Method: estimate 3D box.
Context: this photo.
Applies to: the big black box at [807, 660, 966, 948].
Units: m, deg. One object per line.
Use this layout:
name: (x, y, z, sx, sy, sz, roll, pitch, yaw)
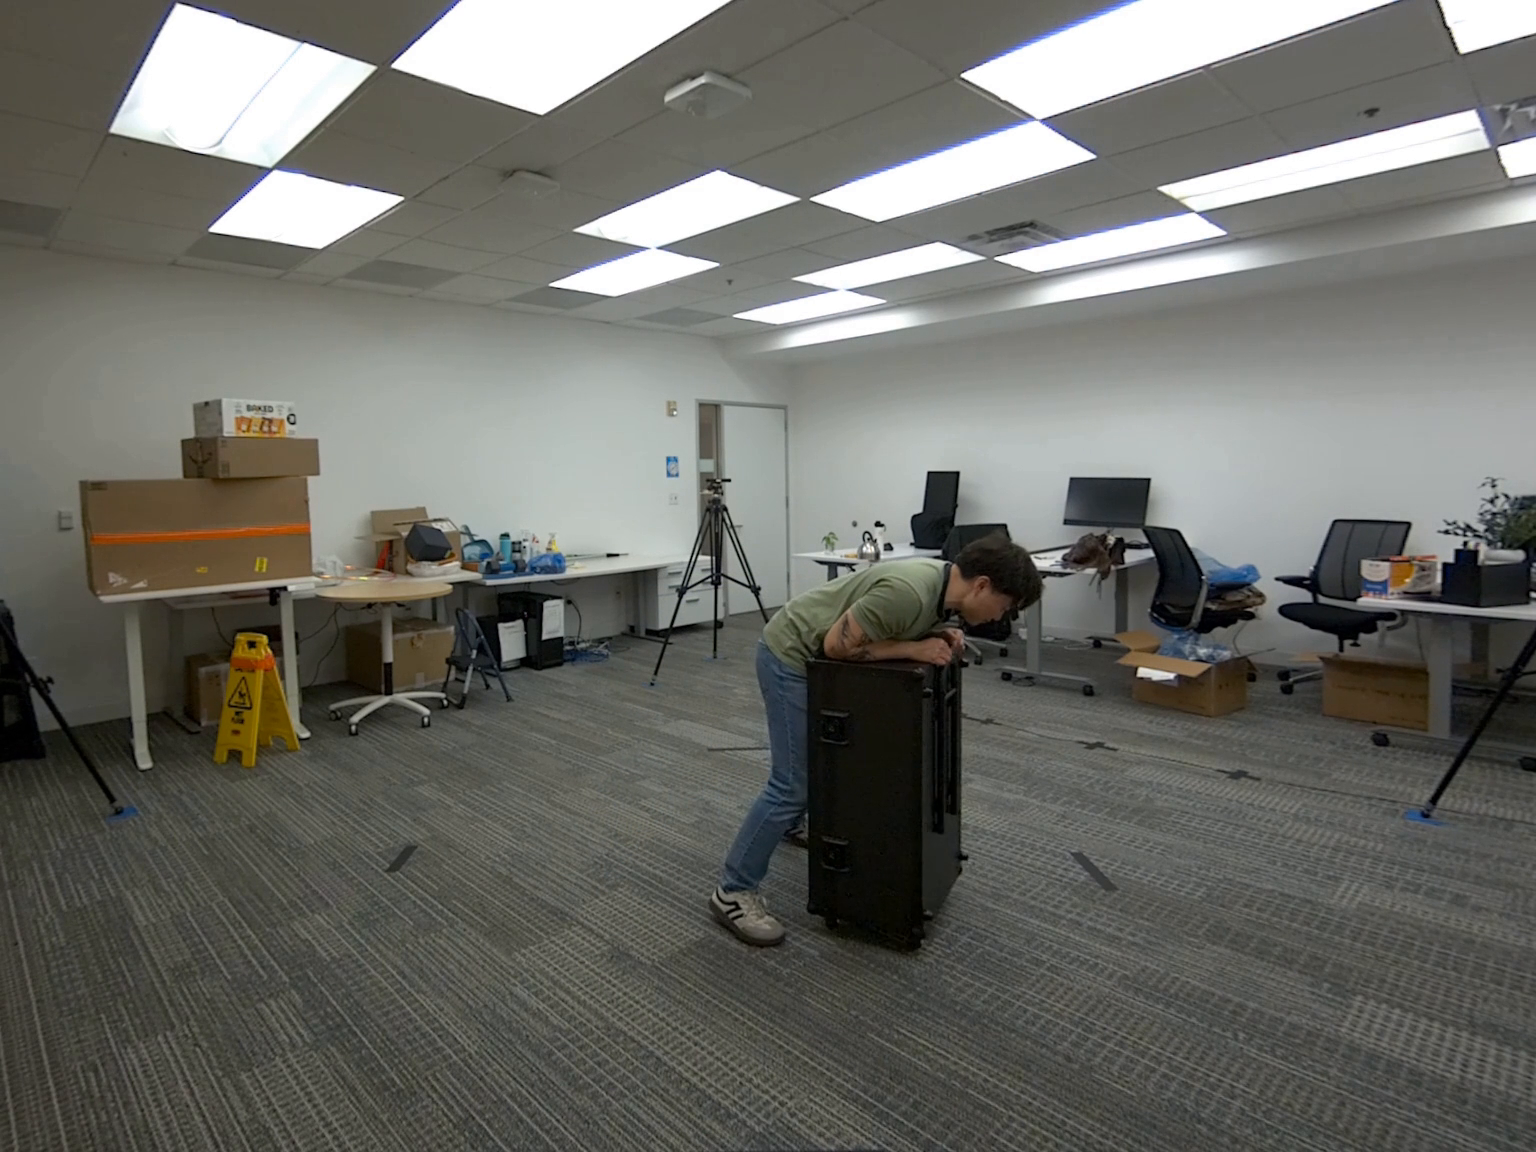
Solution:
big black box: (0.397, 0.662, 2.705, 0.406, 0.857, 0.511, 3, 6, 27)
